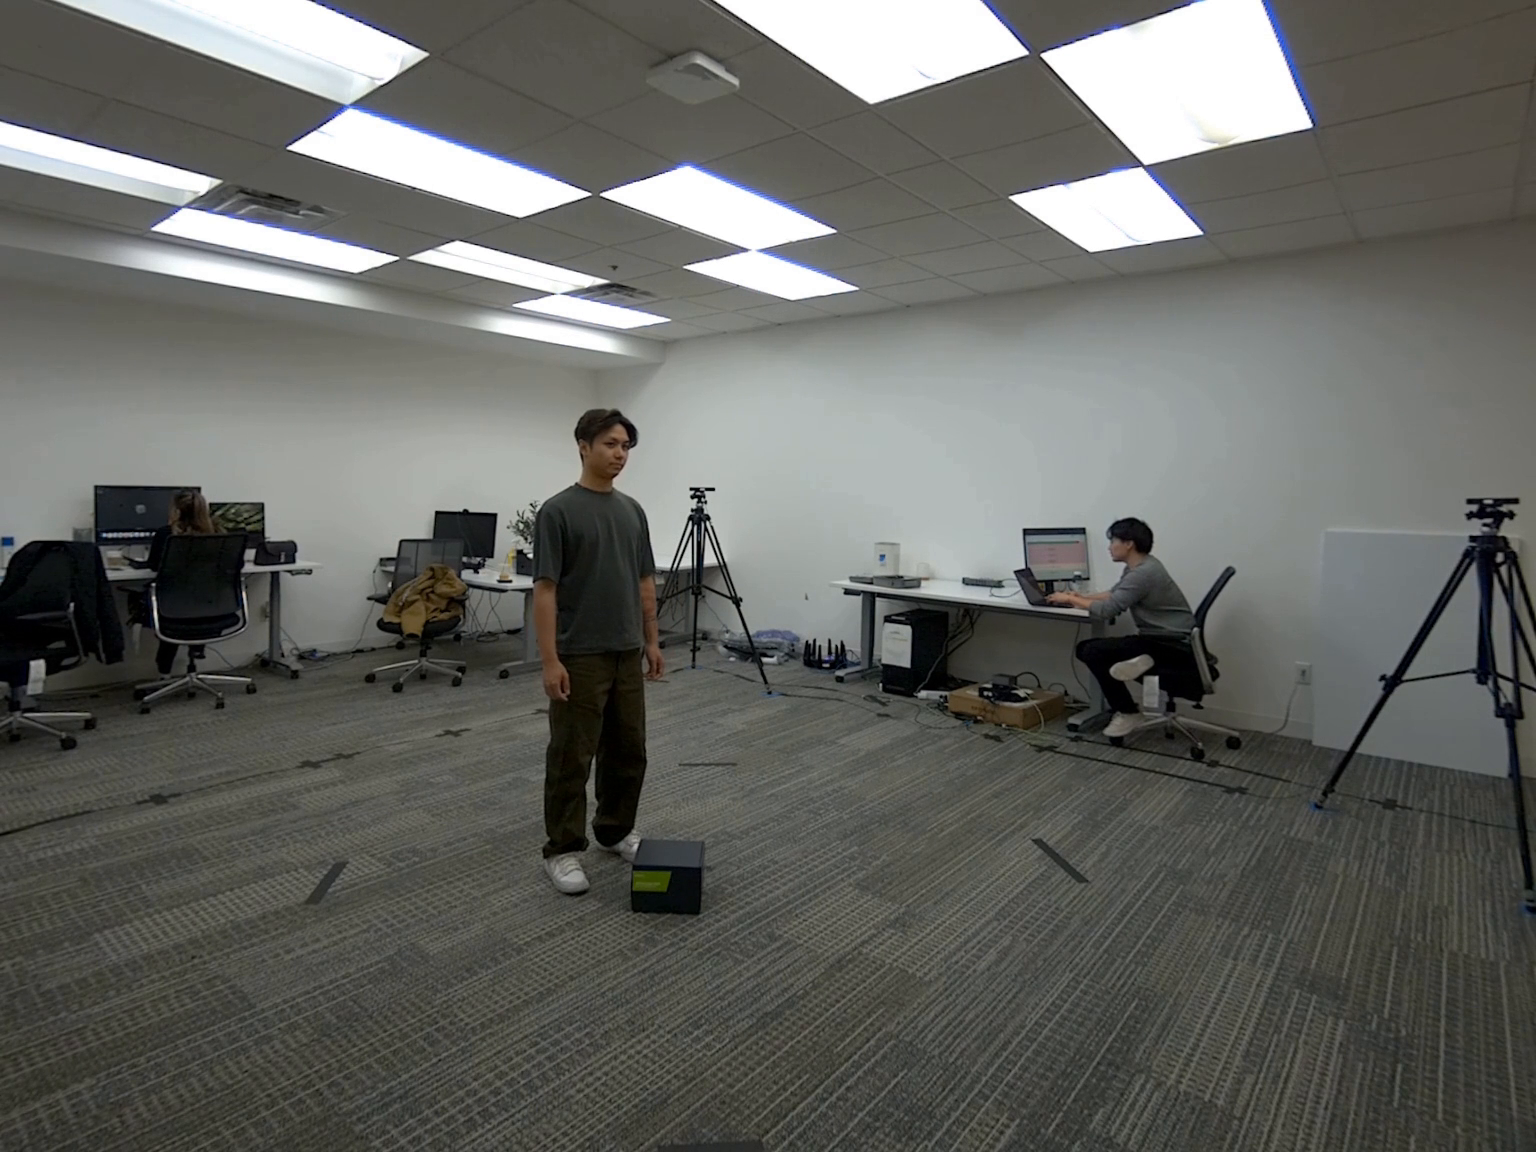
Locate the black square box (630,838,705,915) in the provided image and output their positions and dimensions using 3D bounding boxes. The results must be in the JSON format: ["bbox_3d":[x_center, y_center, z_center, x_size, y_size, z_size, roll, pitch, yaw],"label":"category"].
[{"bbox_3d":[-0.342,1.003,2.868,0.228,0.155,0.217,1,4,0],"label":"black square box"}]
